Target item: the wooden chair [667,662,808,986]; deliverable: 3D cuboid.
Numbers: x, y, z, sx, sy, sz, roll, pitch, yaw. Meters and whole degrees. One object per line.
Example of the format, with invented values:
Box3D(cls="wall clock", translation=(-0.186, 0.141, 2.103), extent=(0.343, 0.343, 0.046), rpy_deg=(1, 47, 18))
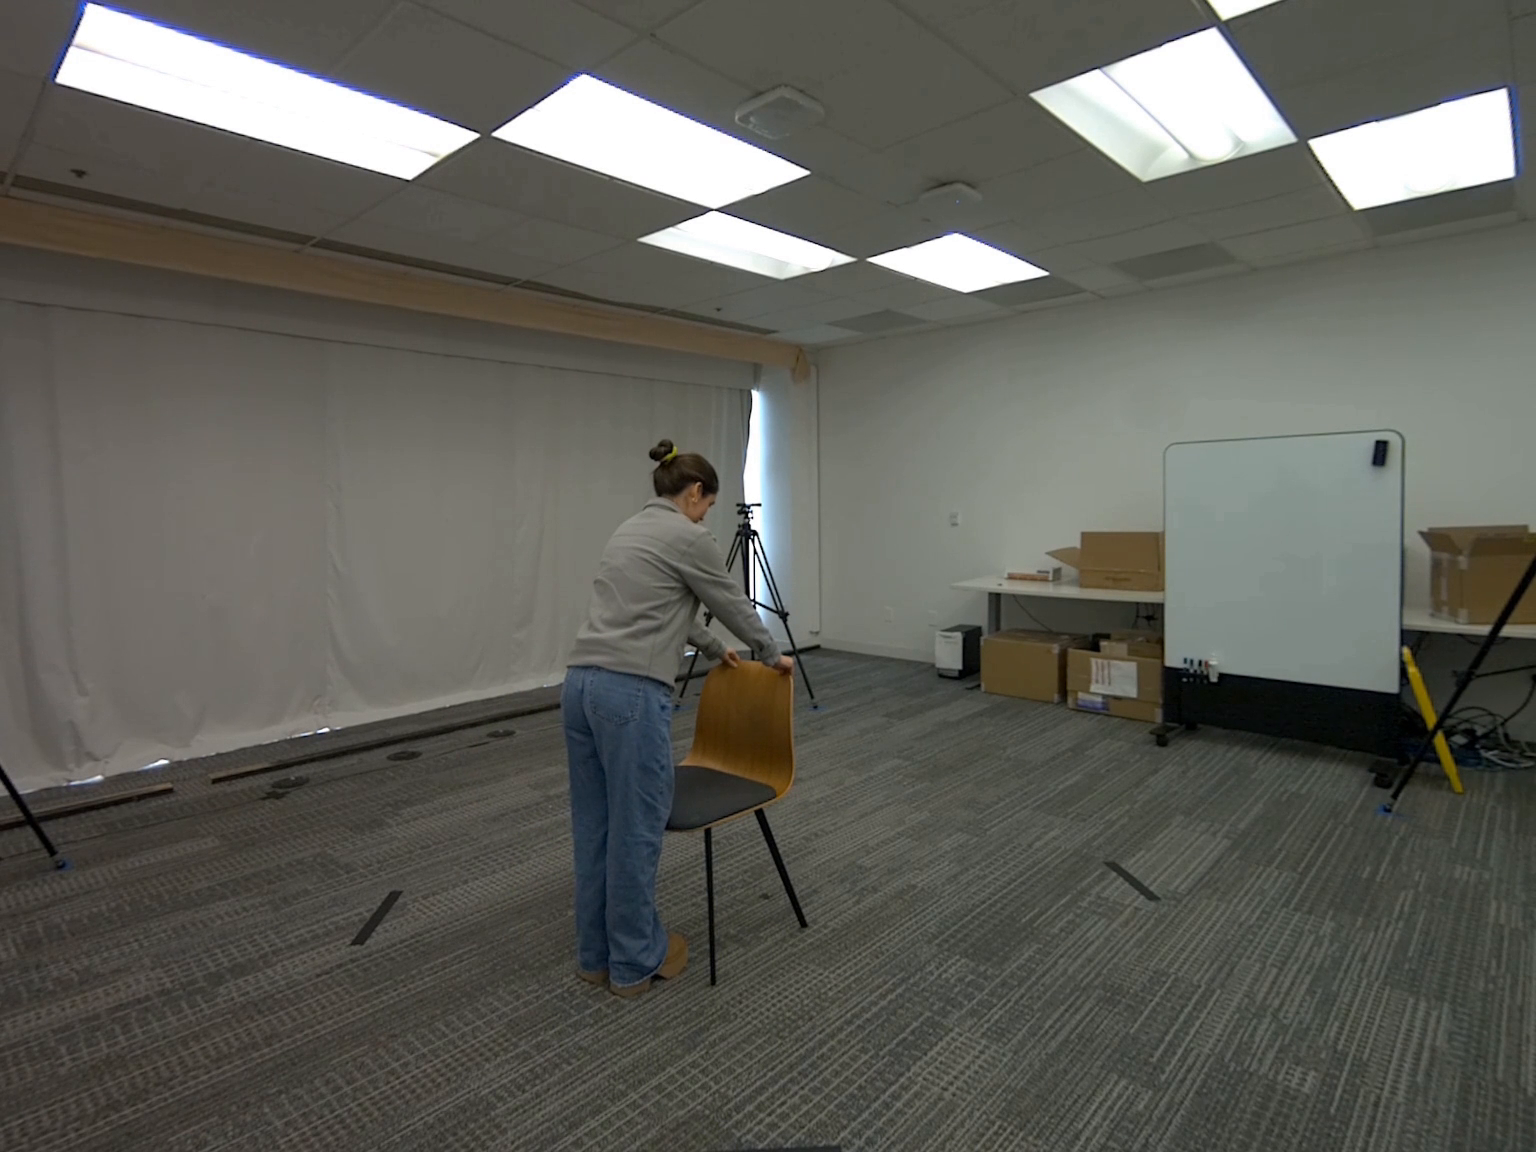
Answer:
Box3D(cls="wooden chair", translation=(-0.190, 0.737, 2.719), extent=(0.494, 0.877, 0.506), rpy_deg=(2, 0, 41))
